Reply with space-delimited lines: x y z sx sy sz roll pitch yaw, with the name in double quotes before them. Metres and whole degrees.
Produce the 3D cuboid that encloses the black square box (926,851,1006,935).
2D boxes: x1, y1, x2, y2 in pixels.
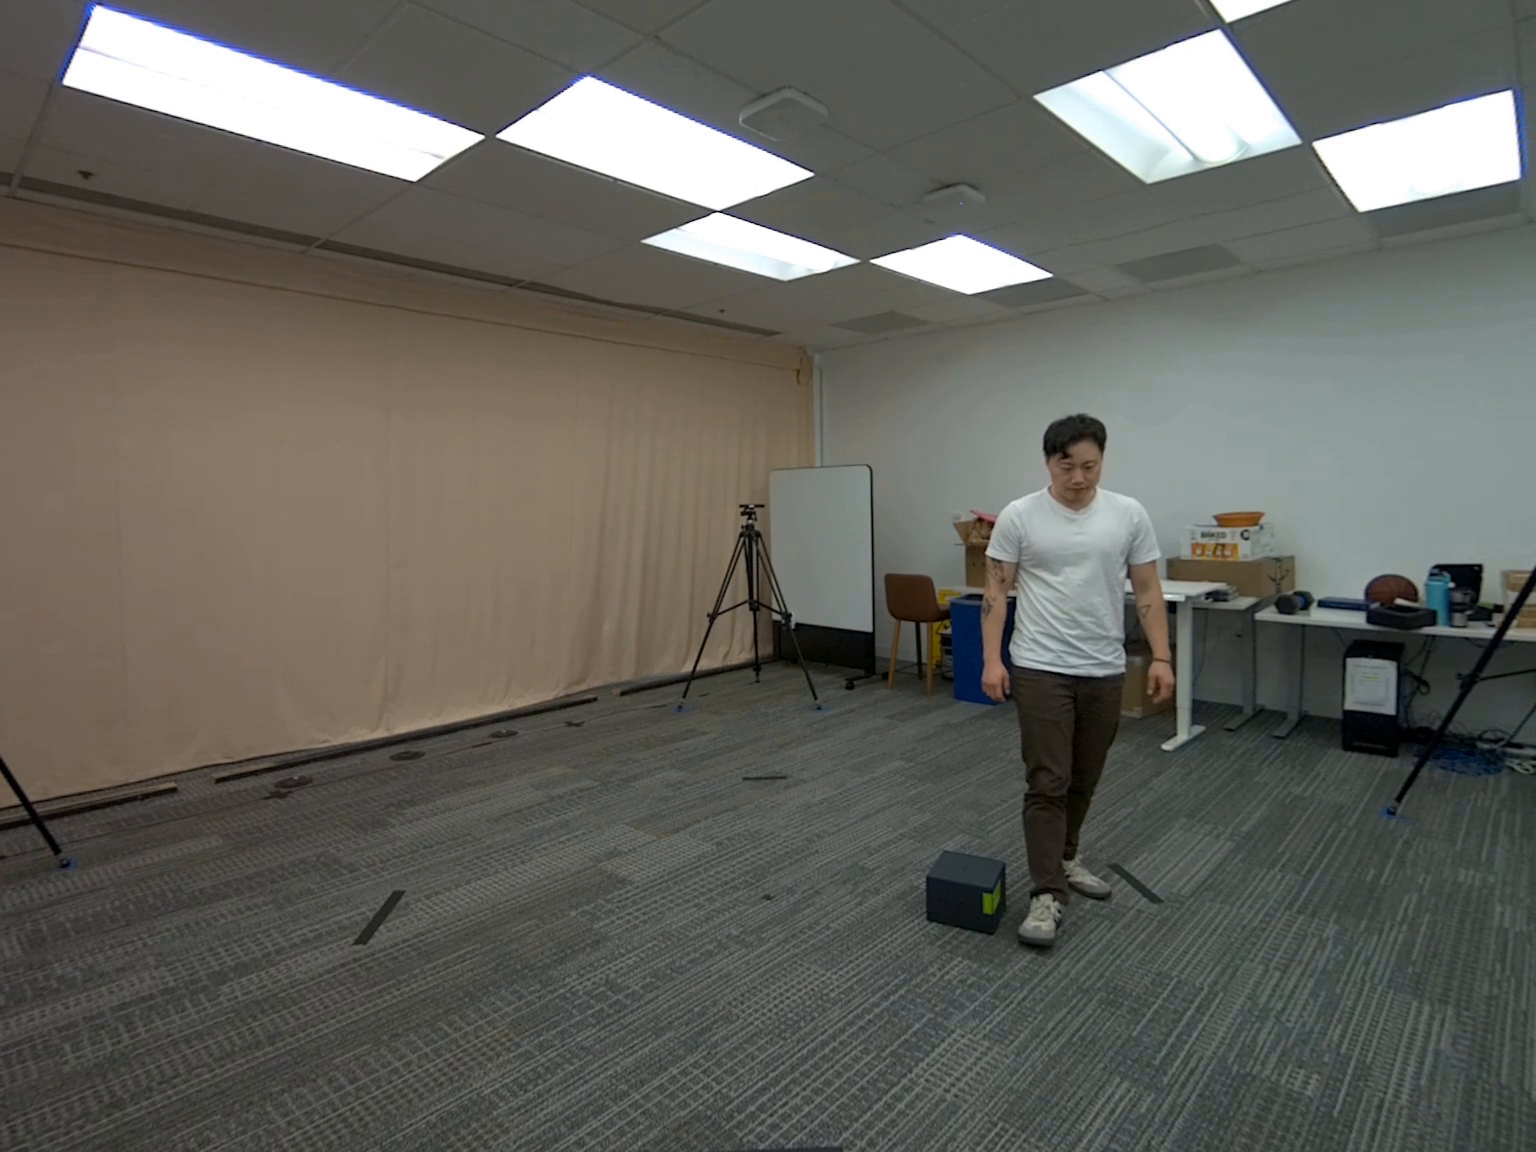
"black square box" 0.674 1.059 2.834 0.223 0.155 0.222 1 5 27
